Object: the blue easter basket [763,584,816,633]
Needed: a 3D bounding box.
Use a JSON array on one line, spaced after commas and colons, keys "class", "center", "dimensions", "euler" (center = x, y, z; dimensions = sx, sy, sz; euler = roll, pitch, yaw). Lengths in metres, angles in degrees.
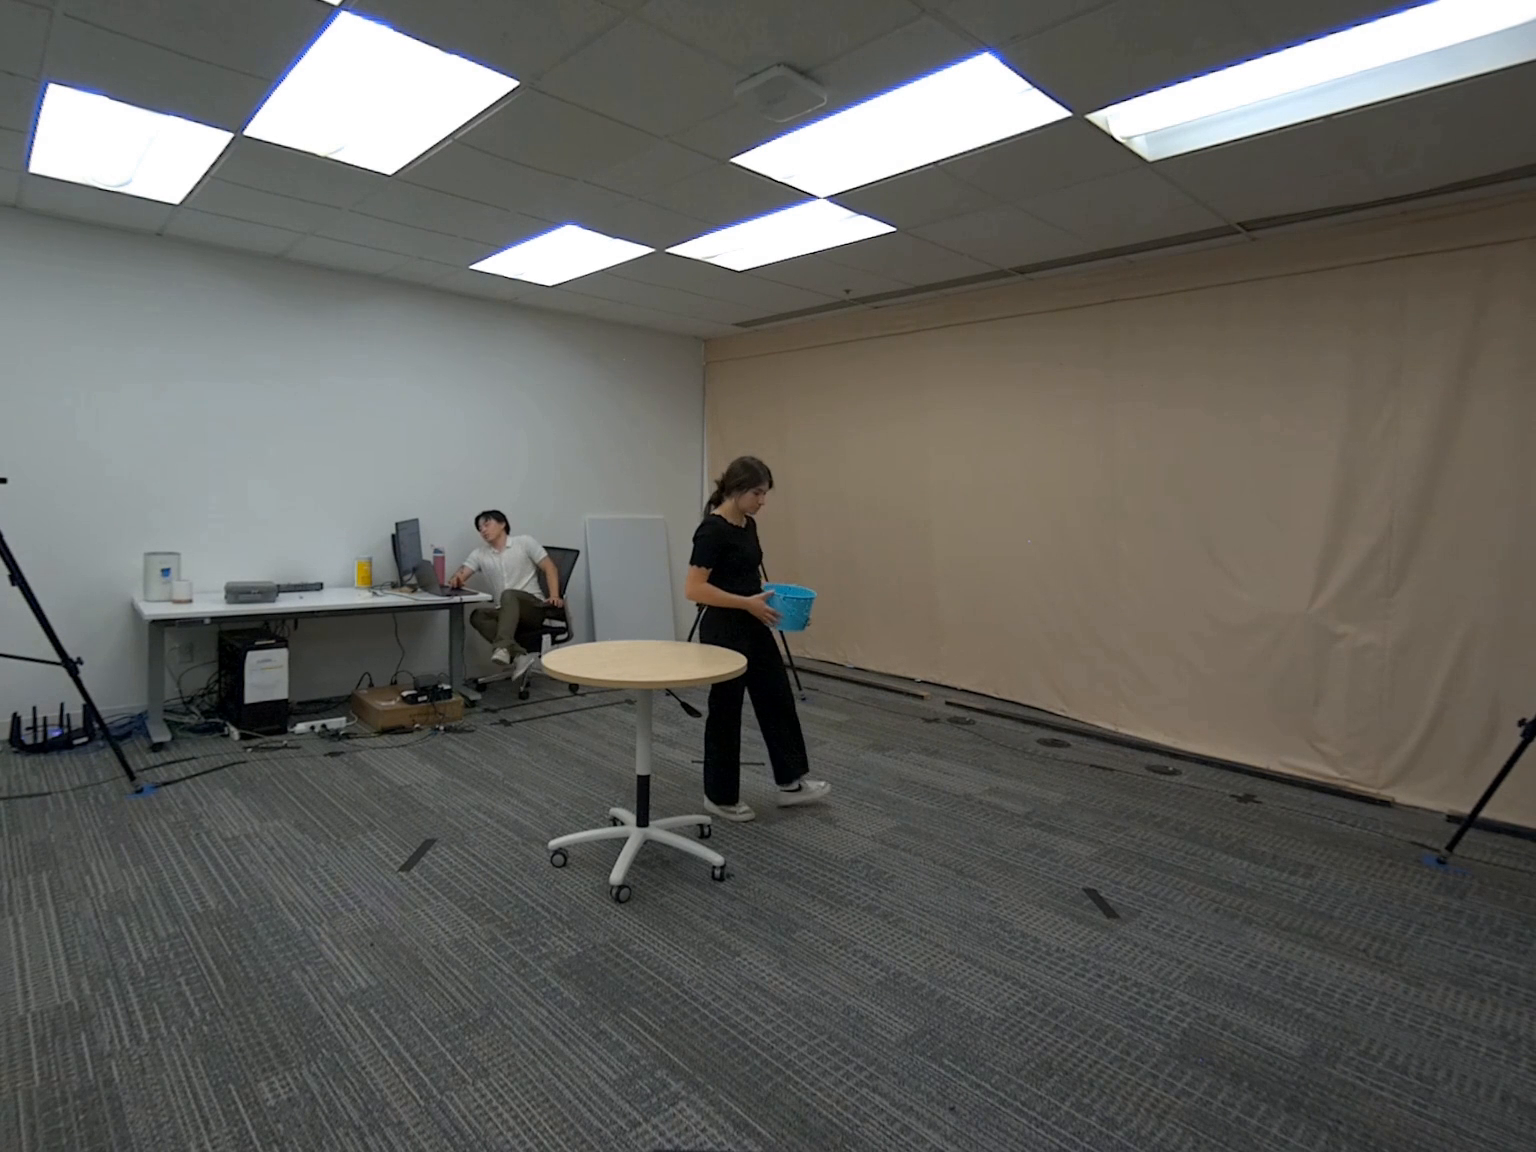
[{"class": "blue easter basket", "center": [0.066, 0.136, 3.558], "dimensions": [0.243, 0.155, 0.245], "euler": [6, 9, -2]}]
